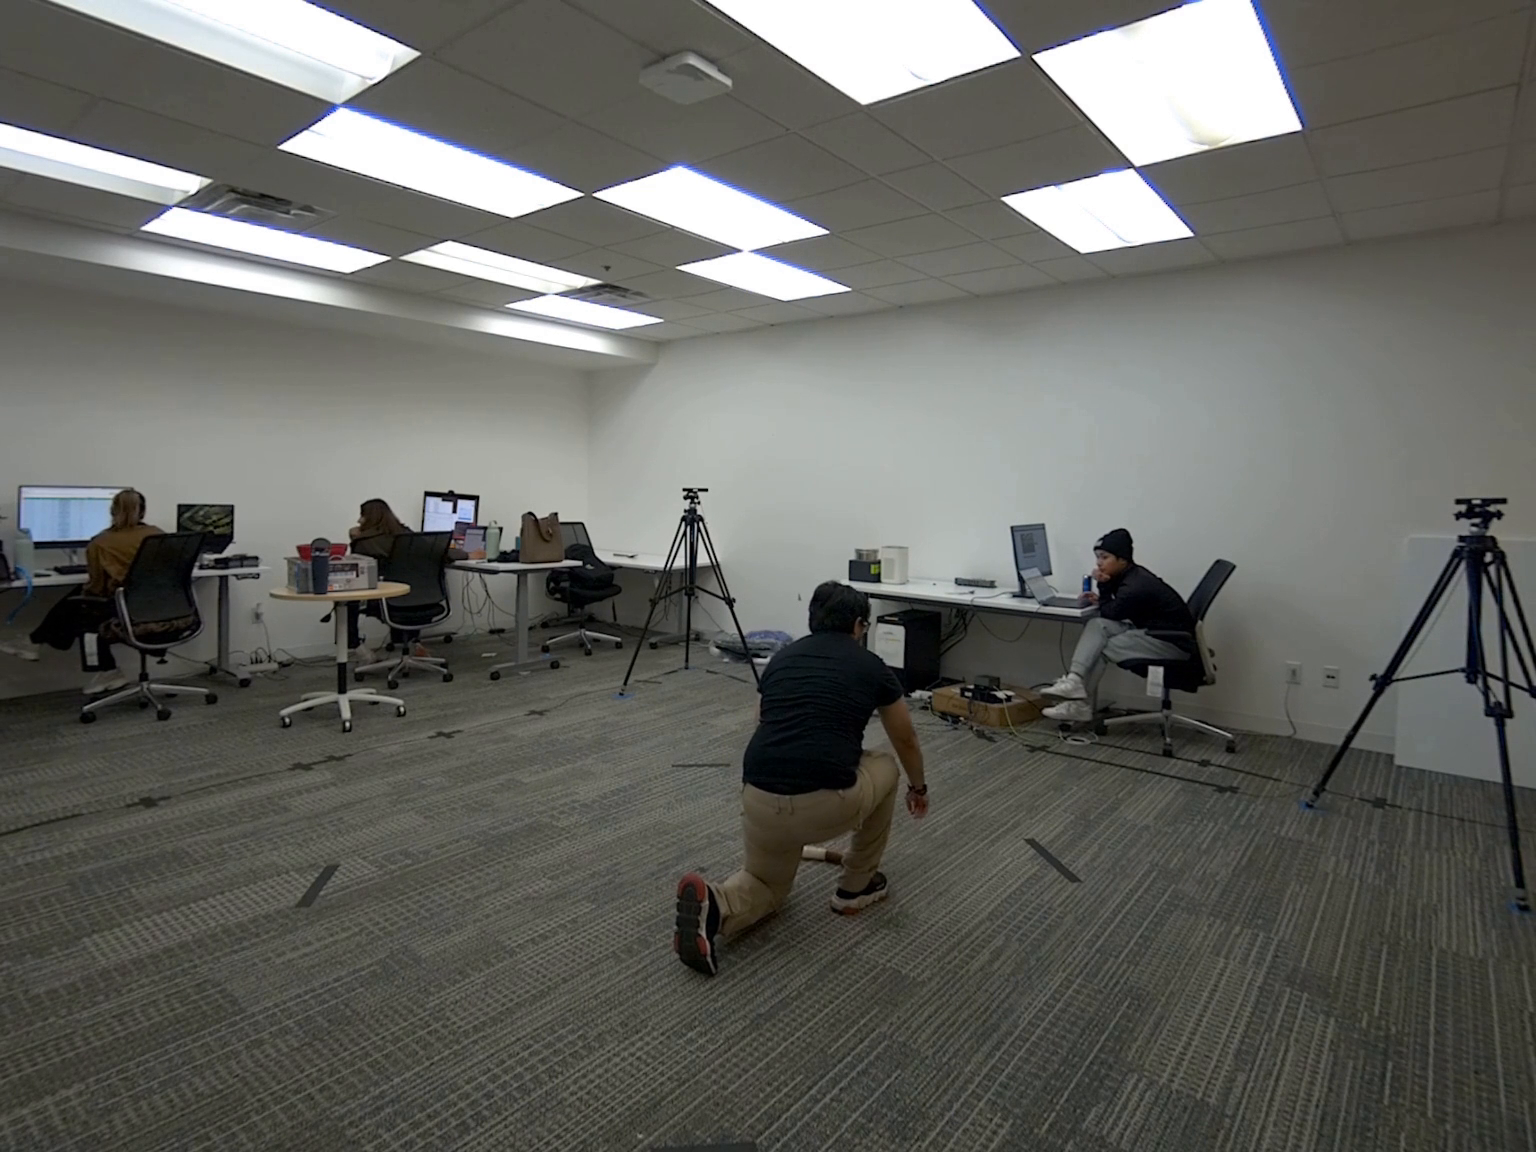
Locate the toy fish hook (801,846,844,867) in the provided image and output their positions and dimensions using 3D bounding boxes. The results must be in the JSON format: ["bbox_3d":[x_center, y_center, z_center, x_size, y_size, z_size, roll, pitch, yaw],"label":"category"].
[{"bbox_3d":[0.185,1.037,3.268,0.521,0.048,0.219,5,8,28],"label":"toy fish hook"}]
